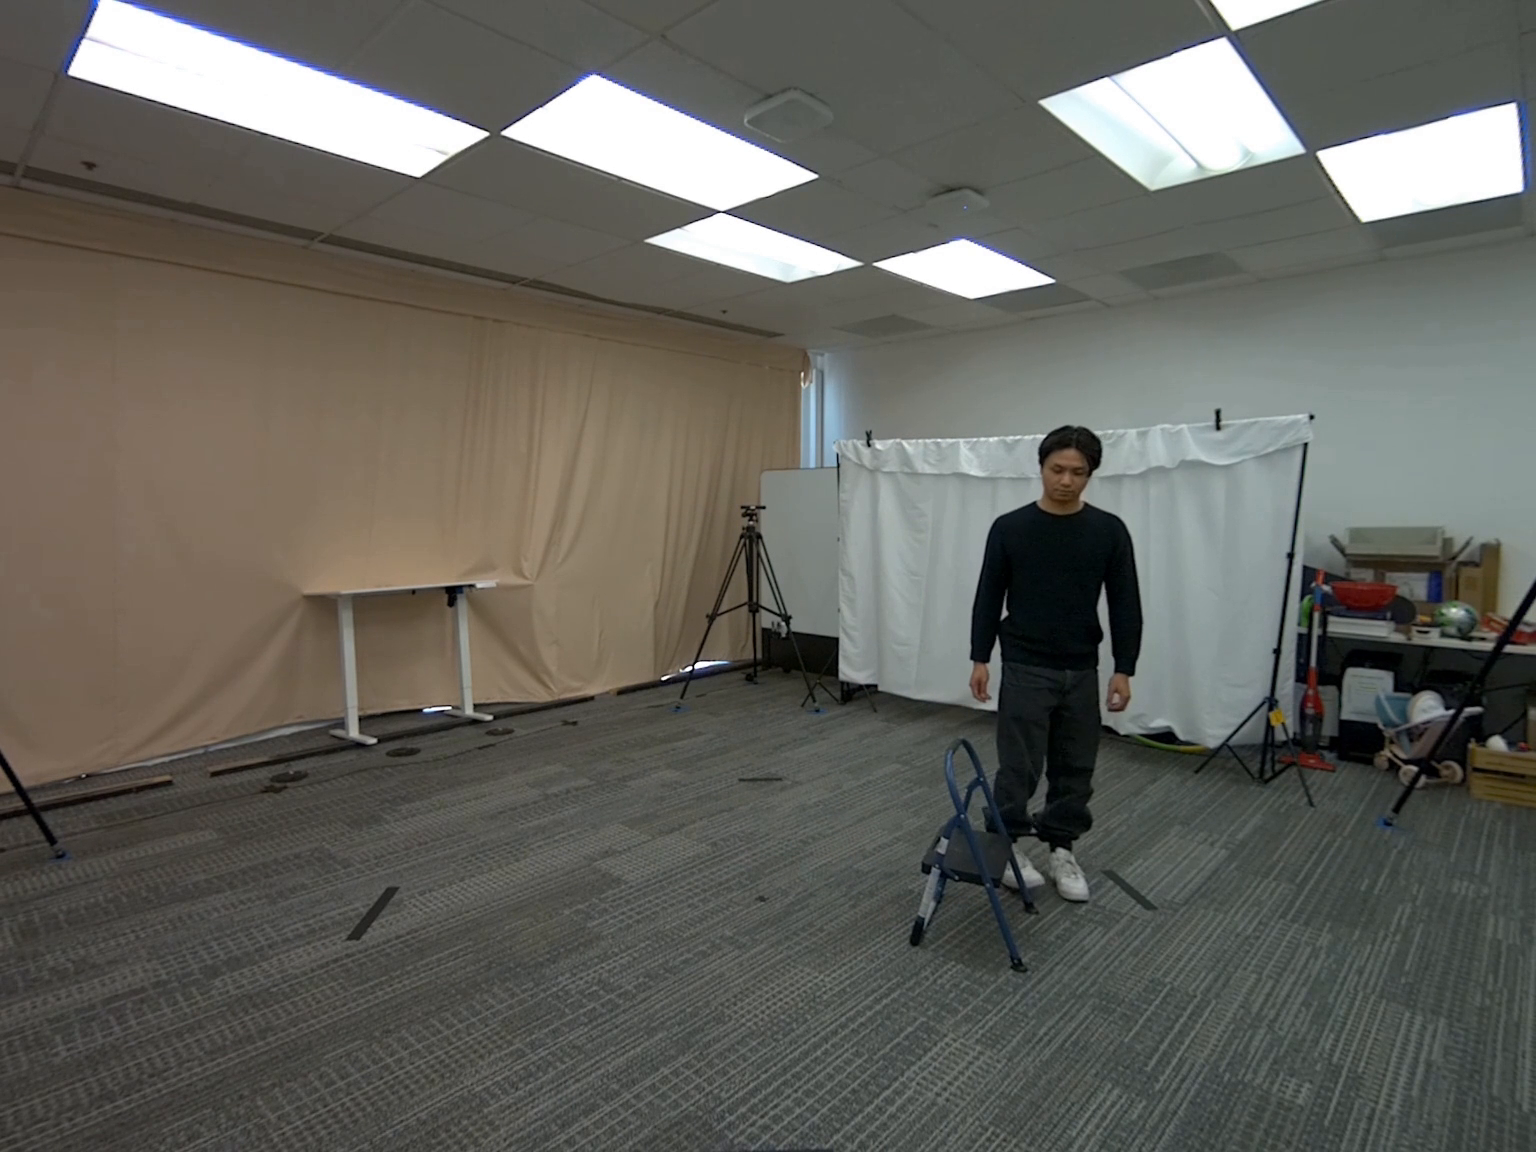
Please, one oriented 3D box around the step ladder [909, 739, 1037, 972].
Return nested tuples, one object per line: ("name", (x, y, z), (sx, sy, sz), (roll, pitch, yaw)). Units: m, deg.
("step ladder", (0.692, 0.859, 2.755), (0.358, 0.605, 0.421), (2, 3, 23))
